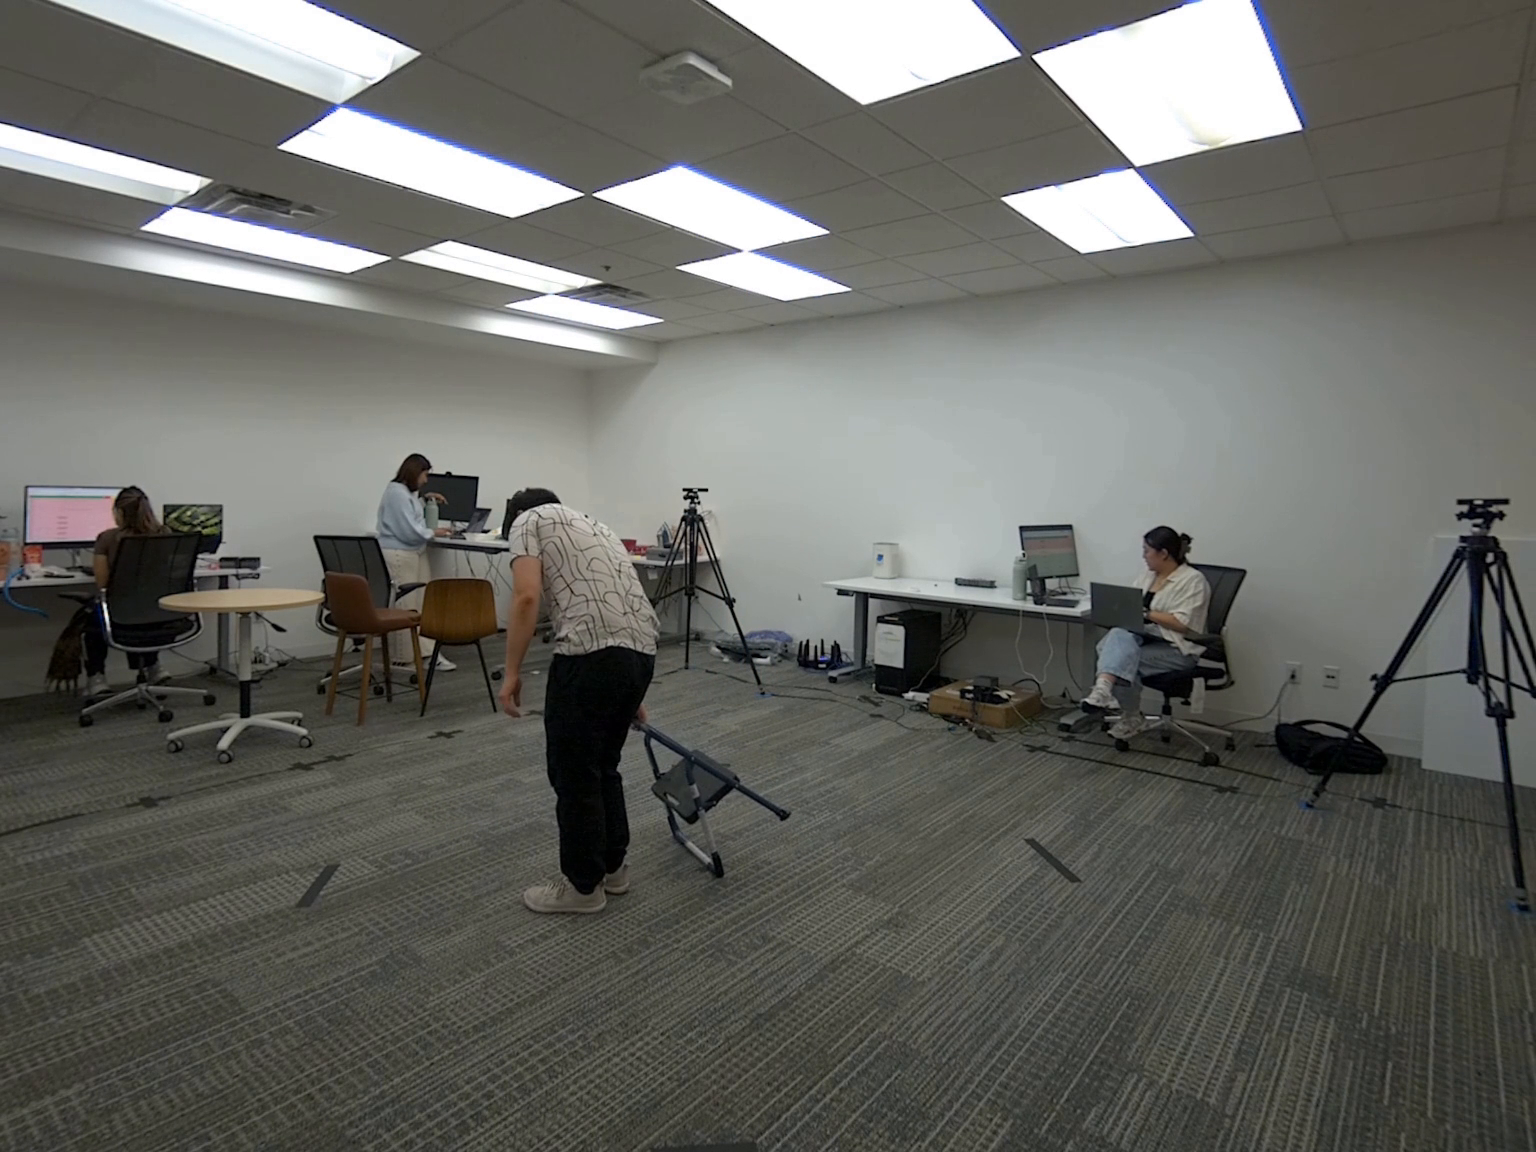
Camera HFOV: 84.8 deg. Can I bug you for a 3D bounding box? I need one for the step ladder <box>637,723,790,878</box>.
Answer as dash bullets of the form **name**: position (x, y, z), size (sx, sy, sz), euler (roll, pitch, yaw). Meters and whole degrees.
- **step ladder**: position (-0.295, 0.721, 3.196), size (0.347, 0.592, 0.443), euler (-38, 19, -22)
